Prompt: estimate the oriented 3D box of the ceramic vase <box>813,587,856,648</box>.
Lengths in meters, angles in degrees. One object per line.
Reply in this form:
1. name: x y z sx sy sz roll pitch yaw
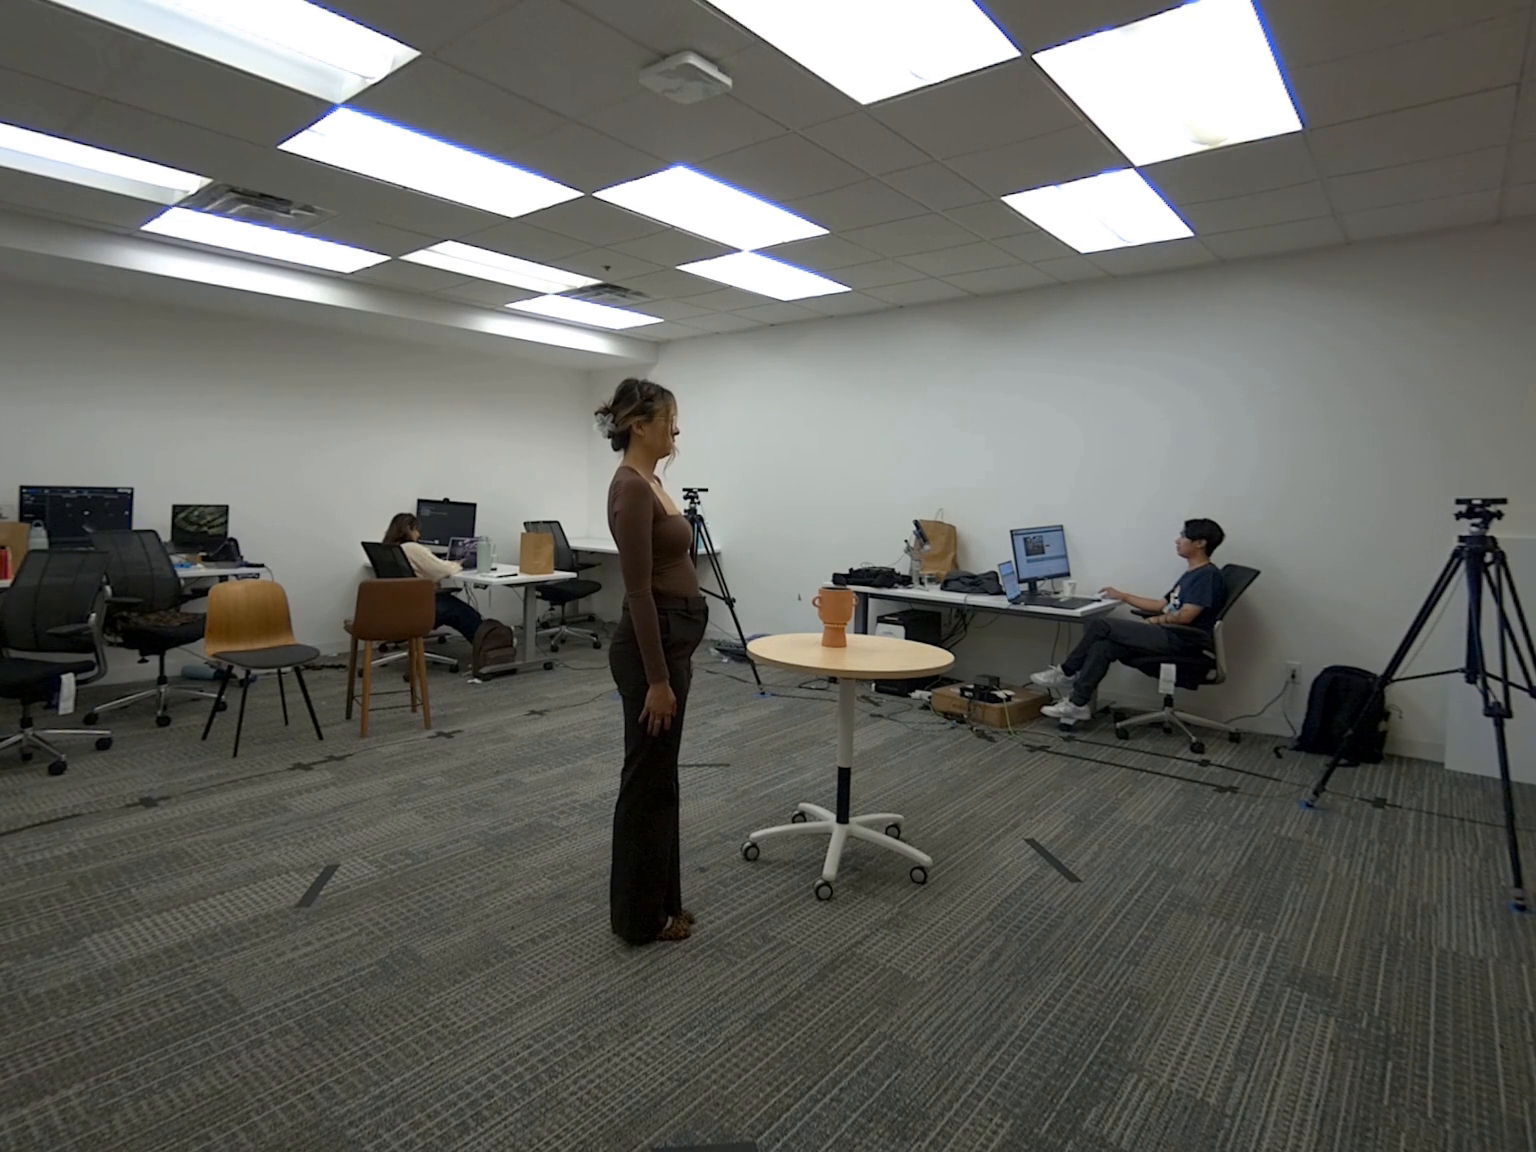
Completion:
1. ceramic vase: 0.252 0.156 3.279 0.162 0.219 0.132 4 3 17
